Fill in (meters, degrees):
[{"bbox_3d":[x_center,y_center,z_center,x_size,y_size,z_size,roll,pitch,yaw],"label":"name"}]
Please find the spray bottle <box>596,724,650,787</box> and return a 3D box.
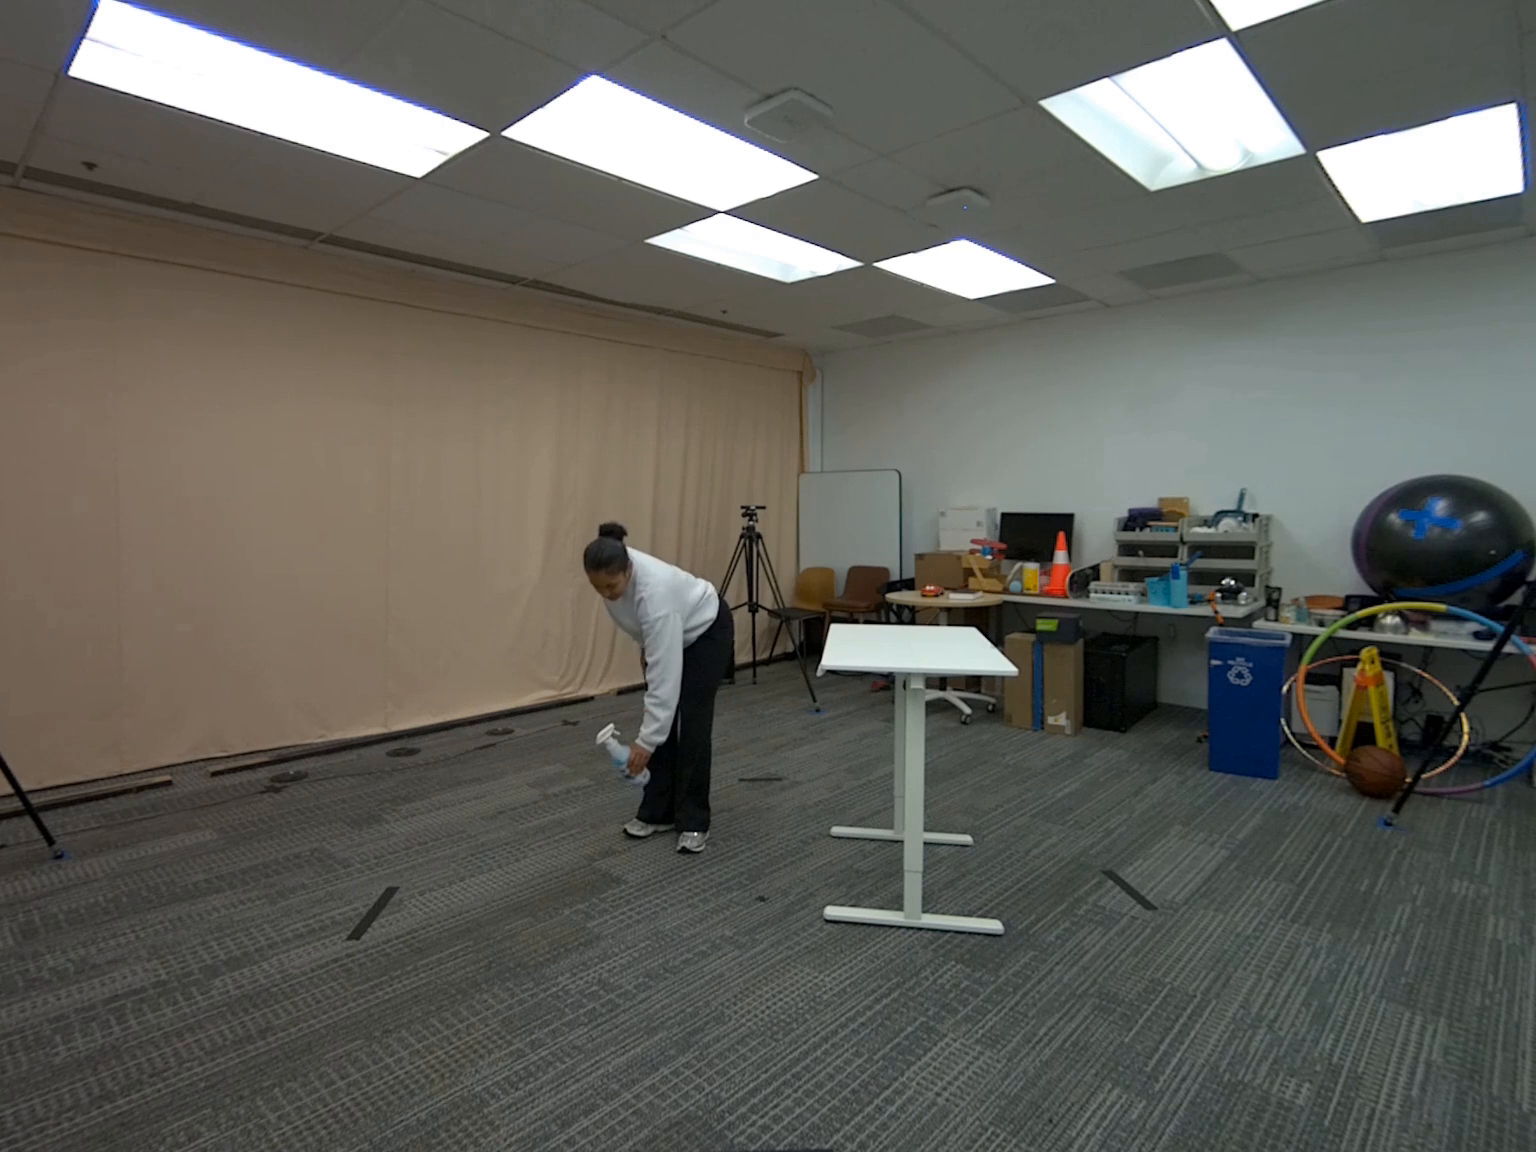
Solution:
[{"bbox_3d":[-0.547,0.675,3.215,0.091,0.288,0.089,-20,35,11],"label":"spray bottle"}]
